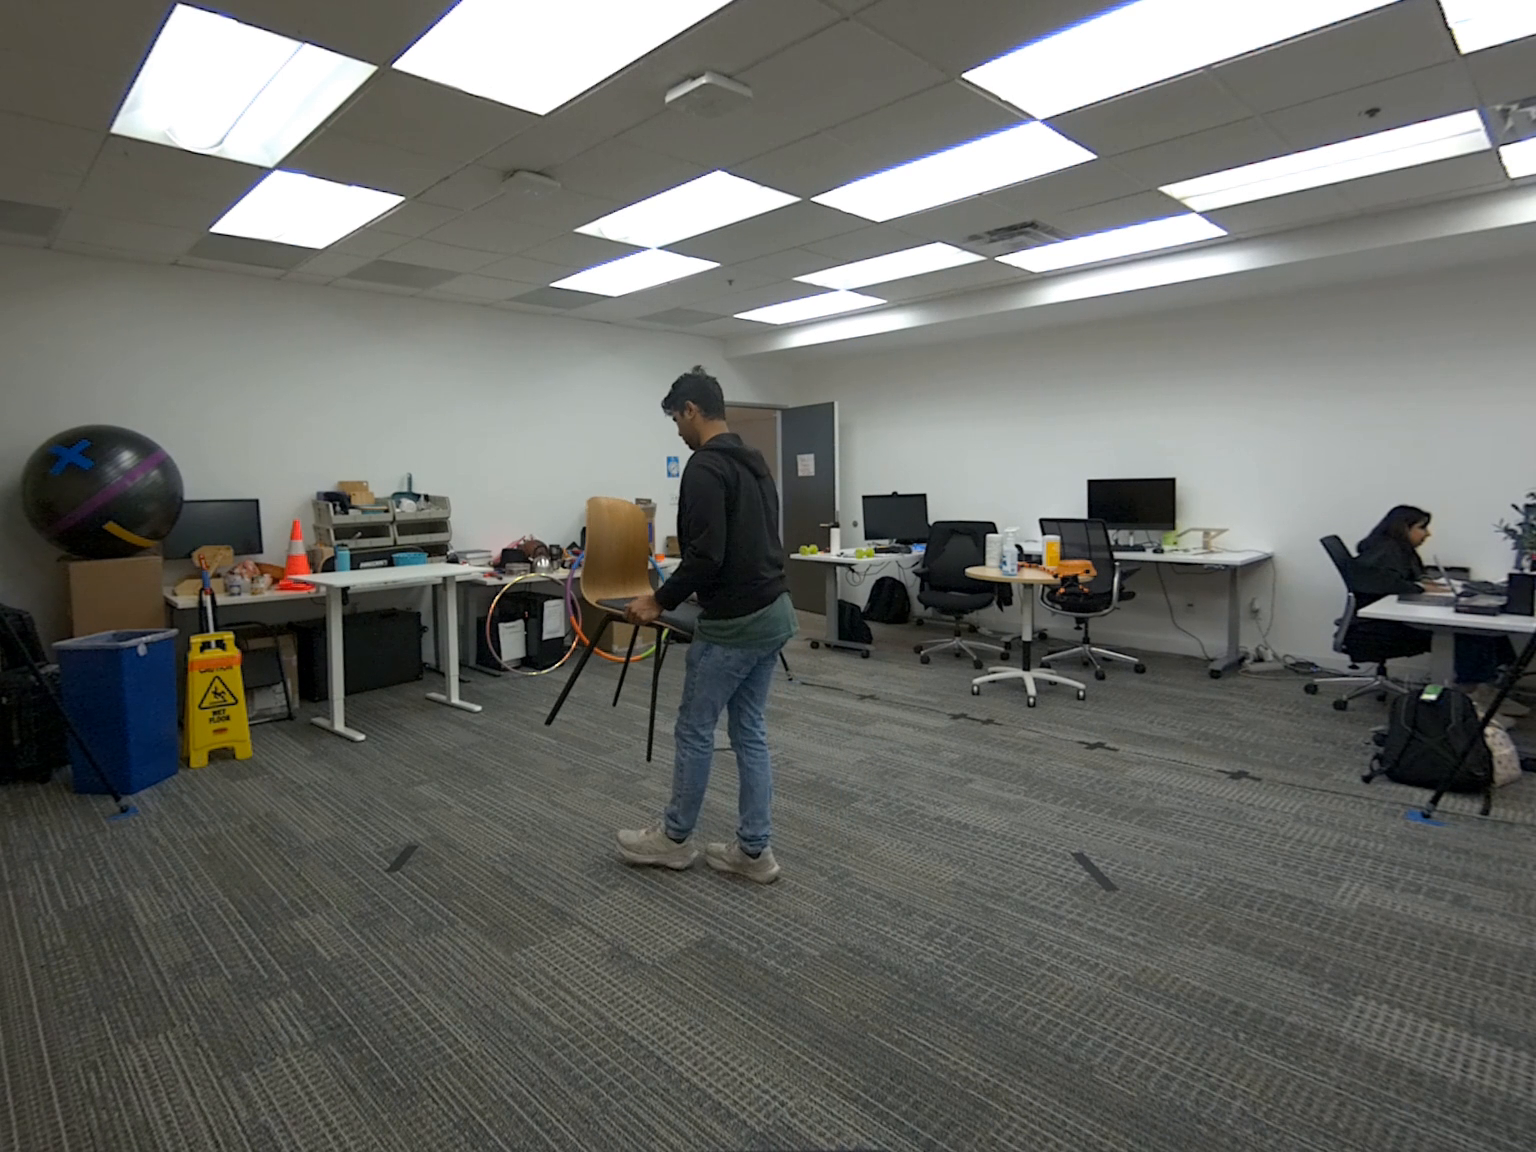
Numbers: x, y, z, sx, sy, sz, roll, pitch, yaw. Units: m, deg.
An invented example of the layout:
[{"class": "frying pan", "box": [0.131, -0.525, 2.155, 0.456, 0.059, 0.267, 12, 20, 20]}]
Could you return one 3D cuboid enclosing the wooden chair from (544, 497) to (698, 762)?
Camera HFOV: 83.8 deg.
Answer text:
[{"class": "wooden chair", "box": [-0.440, 0.169, 3.159, 0.537, 0.876, 0.467, 8, 2, 25]}]
